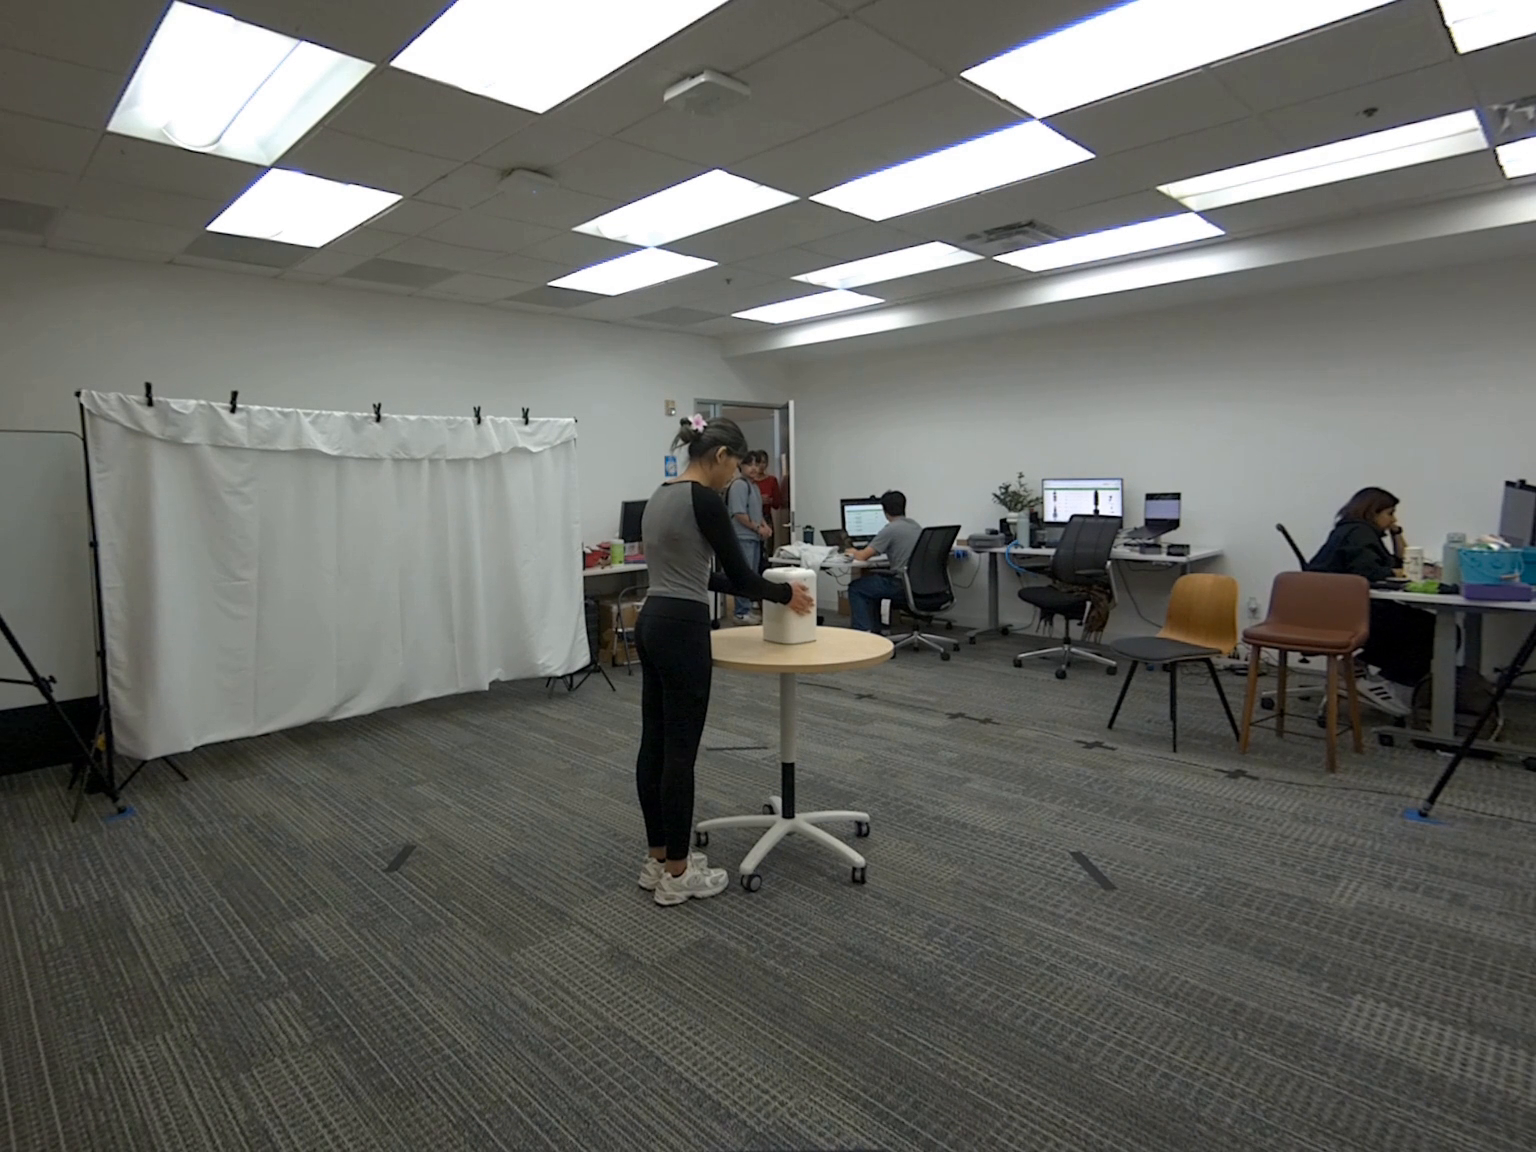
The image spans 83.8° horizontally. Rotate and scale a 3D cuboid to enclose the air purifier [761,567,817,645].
[{"bbox_3d":[0.078,0.105,3.177,0.166,0.264,0.177,-4,5,-39],"label":"air purifier"}]
